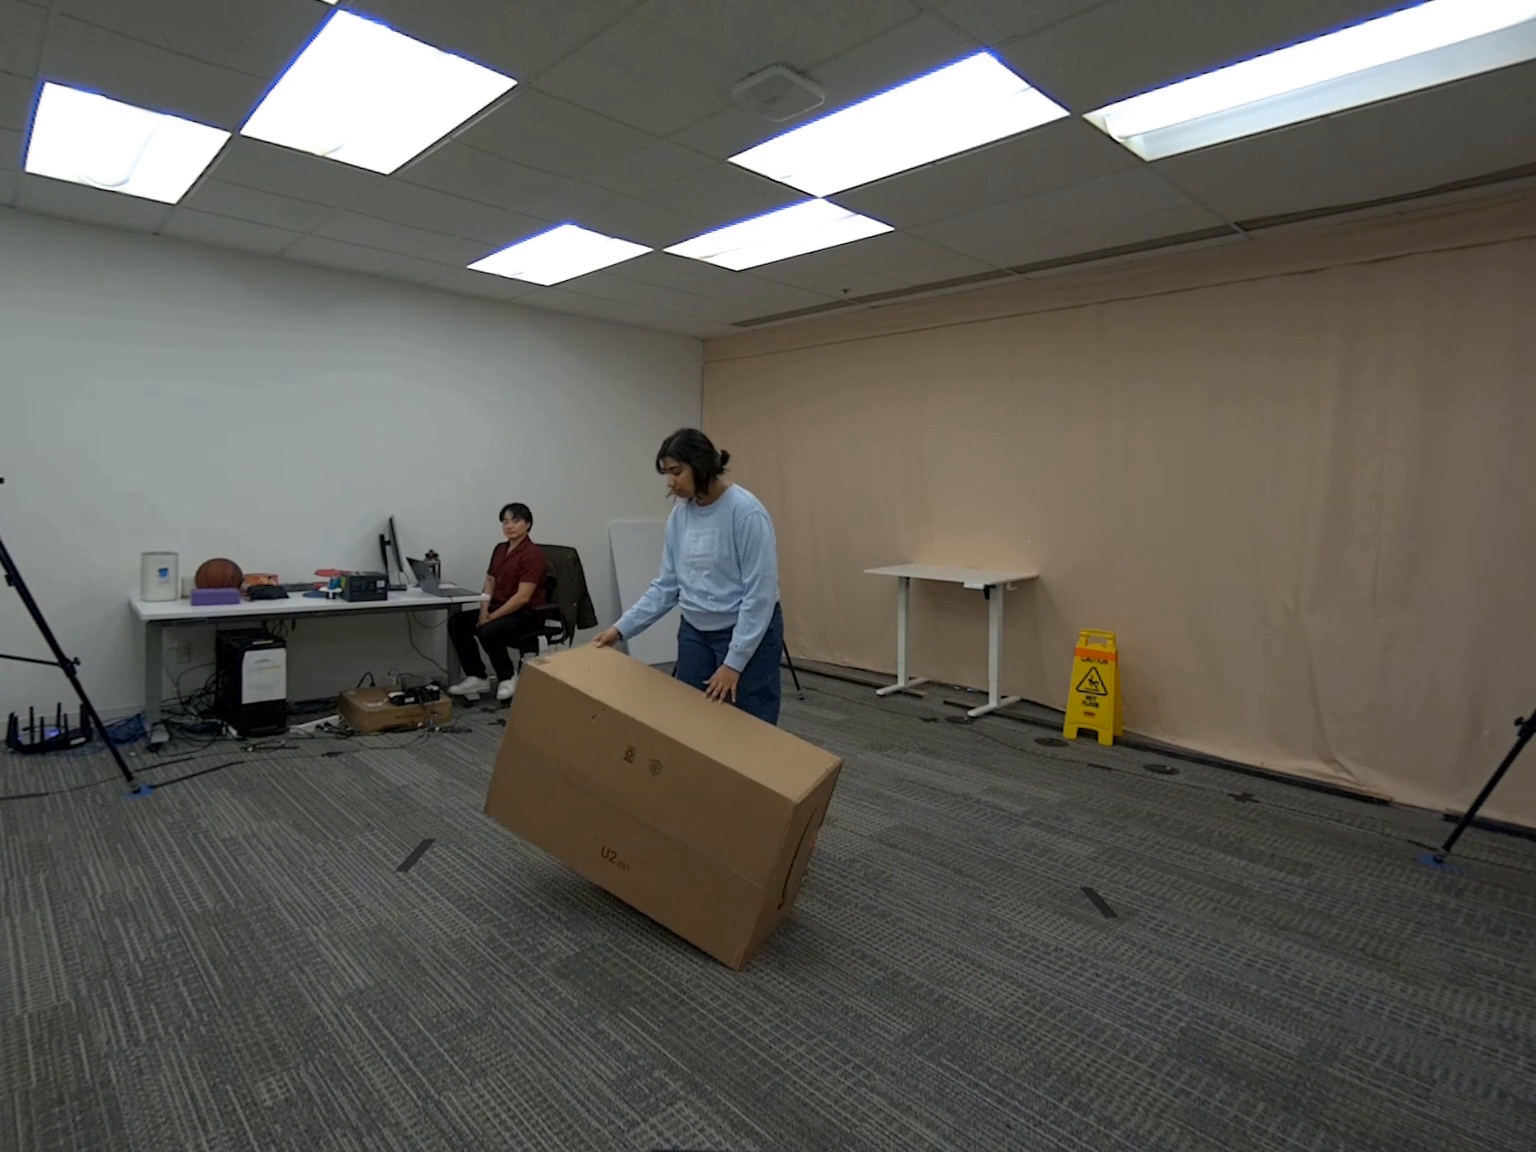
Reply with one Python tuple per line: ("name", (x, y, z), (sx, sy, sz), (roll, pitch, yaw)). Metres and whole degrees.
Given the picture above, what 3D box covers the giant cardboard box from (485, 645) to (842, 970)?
("giant cardboard box", (-0.369, 0.709, 2.800), (1.050, 0.580, 0.440), (22, 13, 23))
